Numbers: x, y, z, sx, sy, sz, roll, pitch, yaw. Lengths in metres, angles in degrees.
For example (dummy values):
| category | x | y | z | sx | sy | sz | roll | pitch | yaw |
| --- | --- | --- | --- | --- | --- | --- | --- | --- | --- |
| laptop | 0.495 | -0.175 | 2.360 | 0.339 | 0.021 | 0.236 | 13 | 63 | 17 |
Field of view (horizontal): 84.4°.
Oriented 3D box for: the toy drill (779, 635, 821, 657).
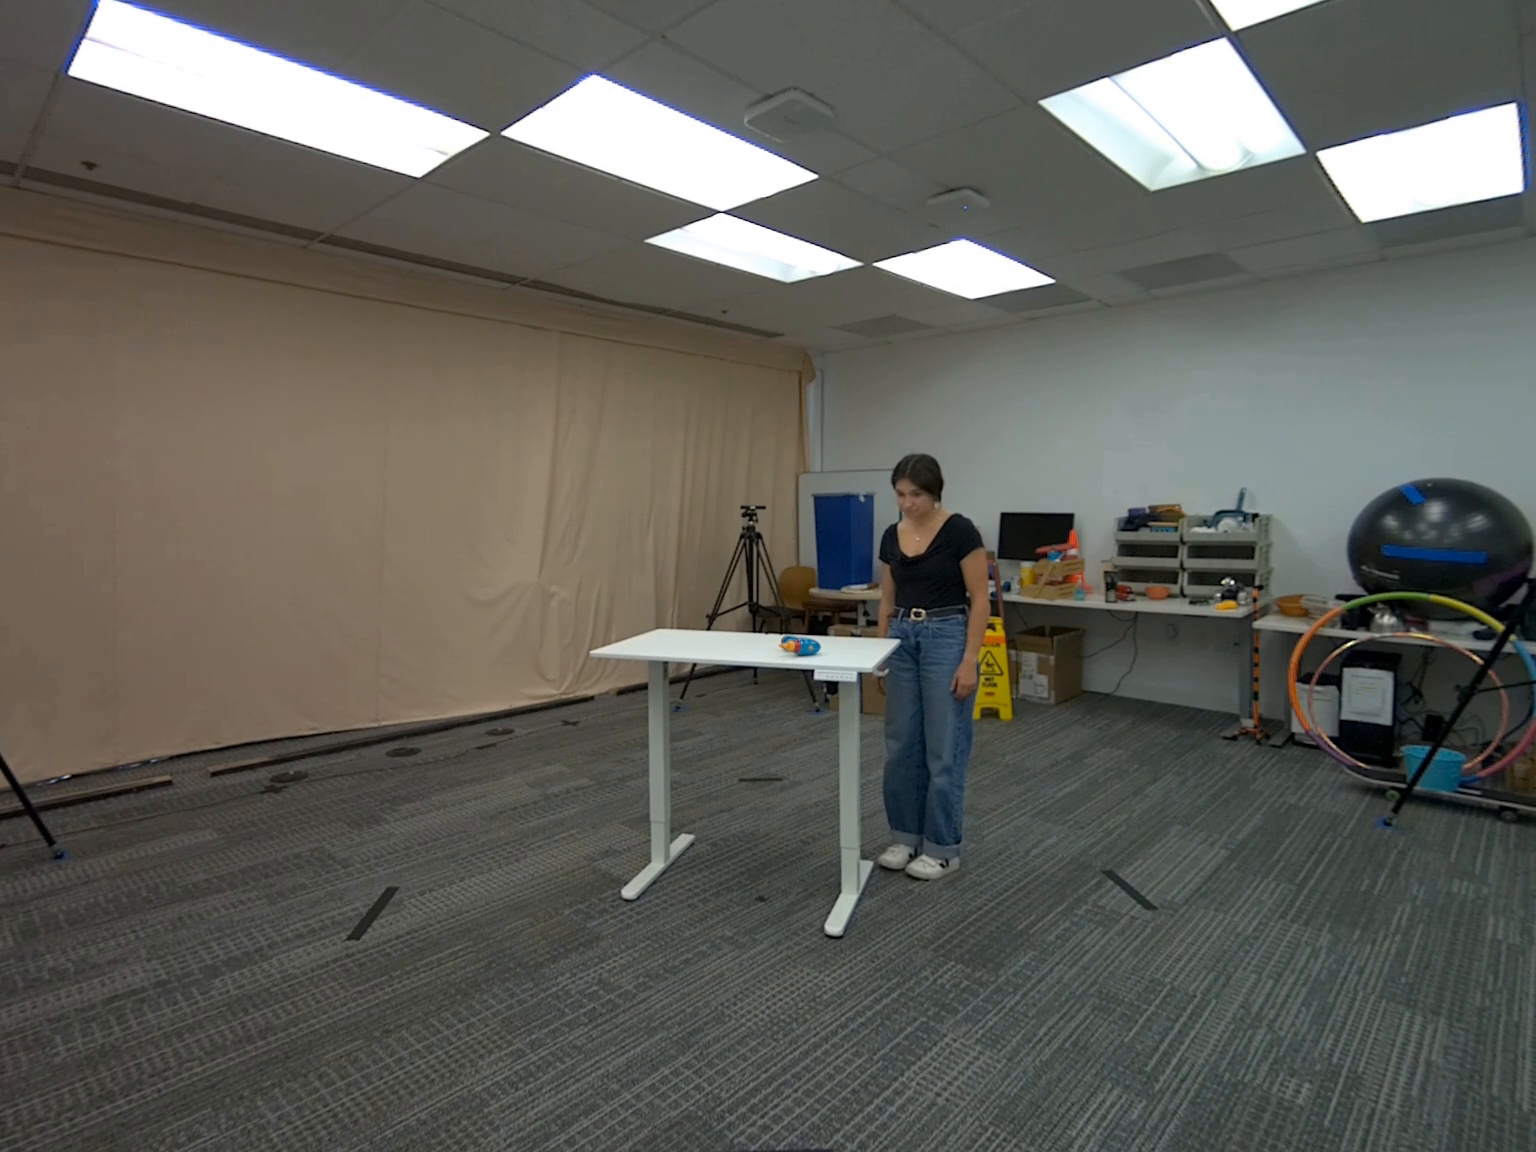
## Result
| category | x | y | z | sx | sy | sz | roll | pitch | yaw |
| --- | --- | --- | --- | --- | --- | --- | --- | --- | --- |
| toy drill | 0.089 | 0.239 | 2.868 | 0.165 | 0.061 | 0.150 | 3 | 0 | -33 |
